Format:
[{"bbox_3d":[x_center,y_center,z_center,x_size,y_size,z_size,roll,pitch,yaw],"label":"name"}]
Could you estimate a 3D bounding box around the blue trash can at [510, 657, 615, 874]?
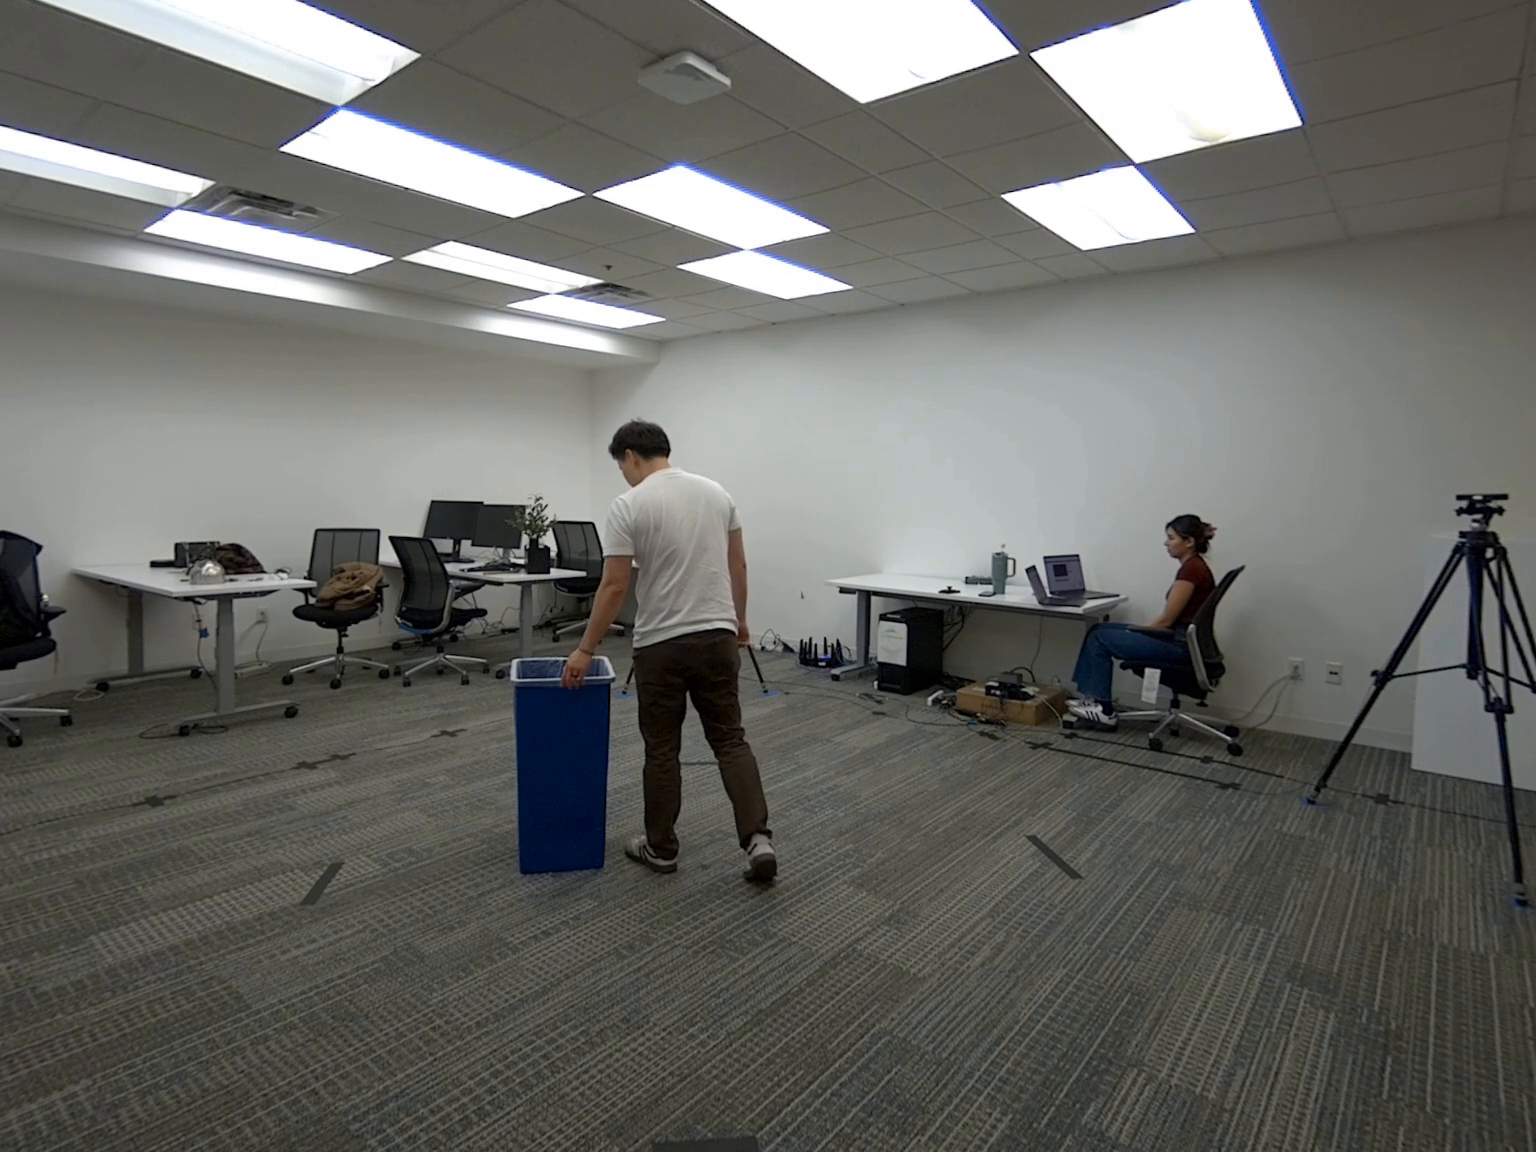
[{"bbox_3d":[-0.795,0.696,3.191,0.369,0.711,0.384,0,3,-14],"label":"blue trash can"}]
